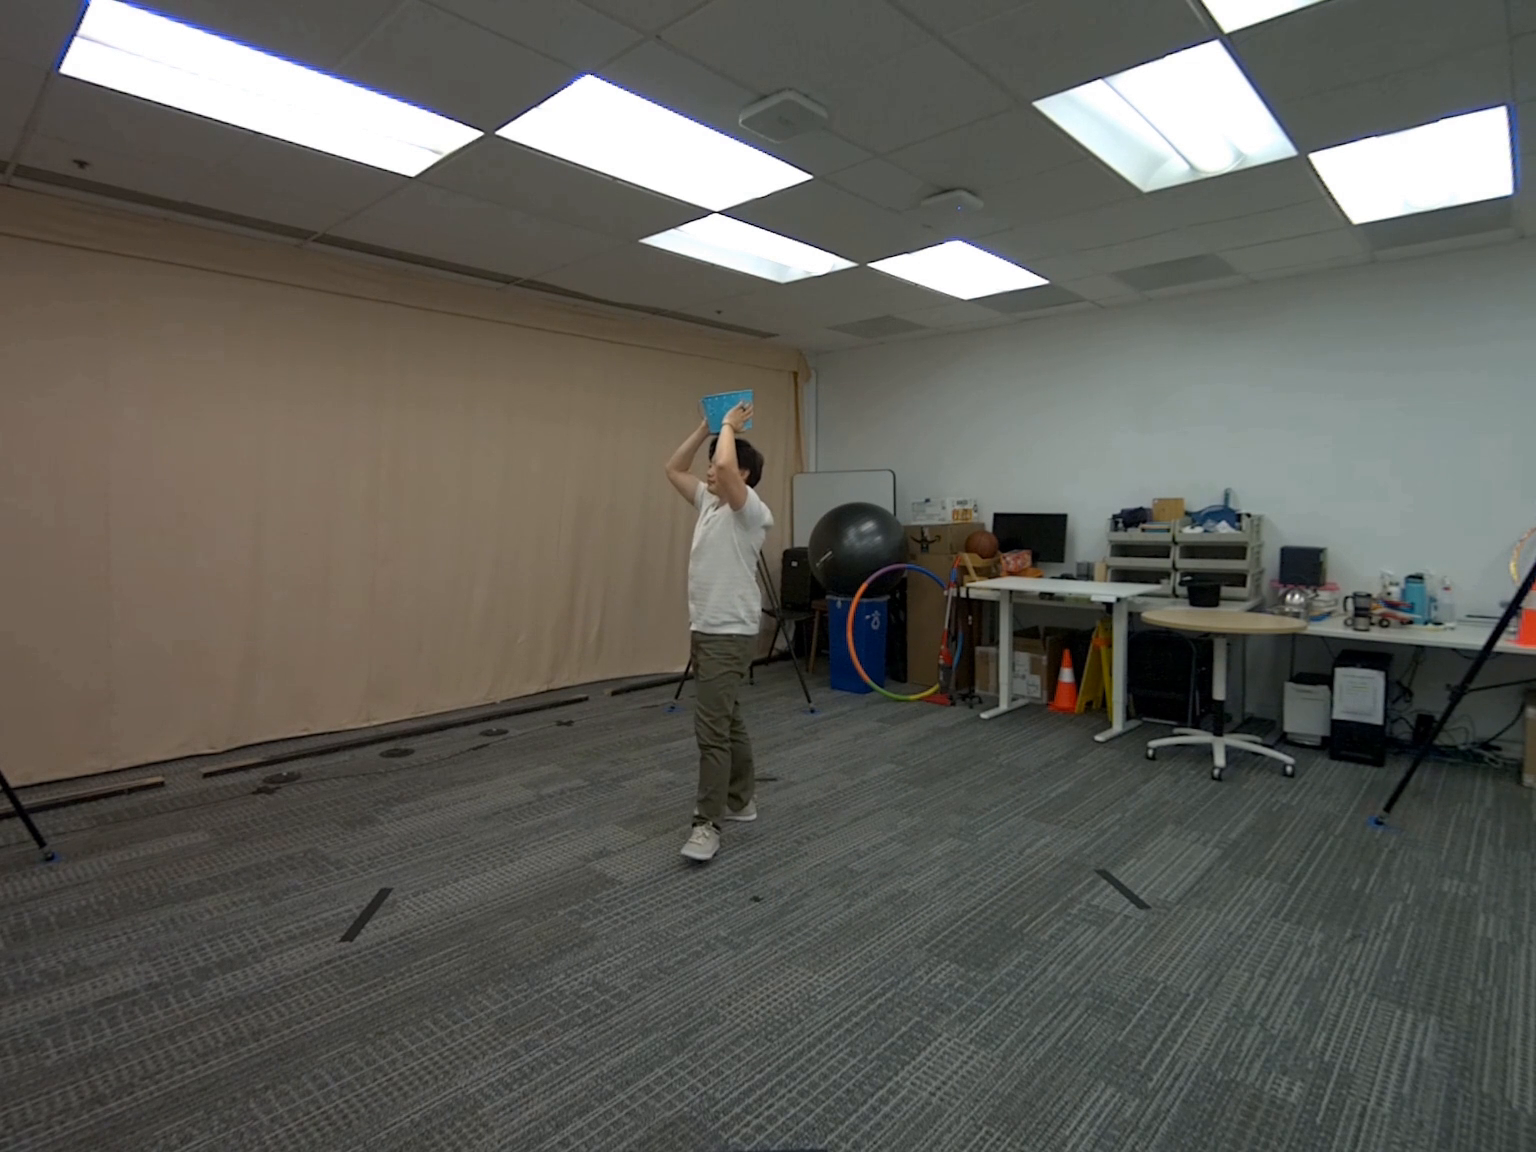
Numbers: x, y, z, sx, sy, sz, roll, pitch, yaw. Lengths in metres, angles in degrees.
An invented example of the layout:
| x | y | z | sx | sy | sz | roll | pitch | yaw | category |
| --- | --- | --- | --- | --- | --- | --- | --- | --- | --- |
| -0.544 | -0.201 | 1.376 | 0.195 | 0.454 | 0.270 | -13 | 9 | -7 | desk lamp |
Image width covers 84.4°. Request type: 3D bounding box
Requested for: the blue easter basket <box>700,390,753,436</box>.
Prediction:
| x | y | z | sx | sy | sz | roll | pitch | yaw | category |
| --- | --- | --- | --- | --- | --- | --- | --- | --- | --- |
| -0.163 | -0.693 | 3.571 | 0.243 | 0.155 | 0.245 | -6 | 9 | -1 | blue easter basket |
